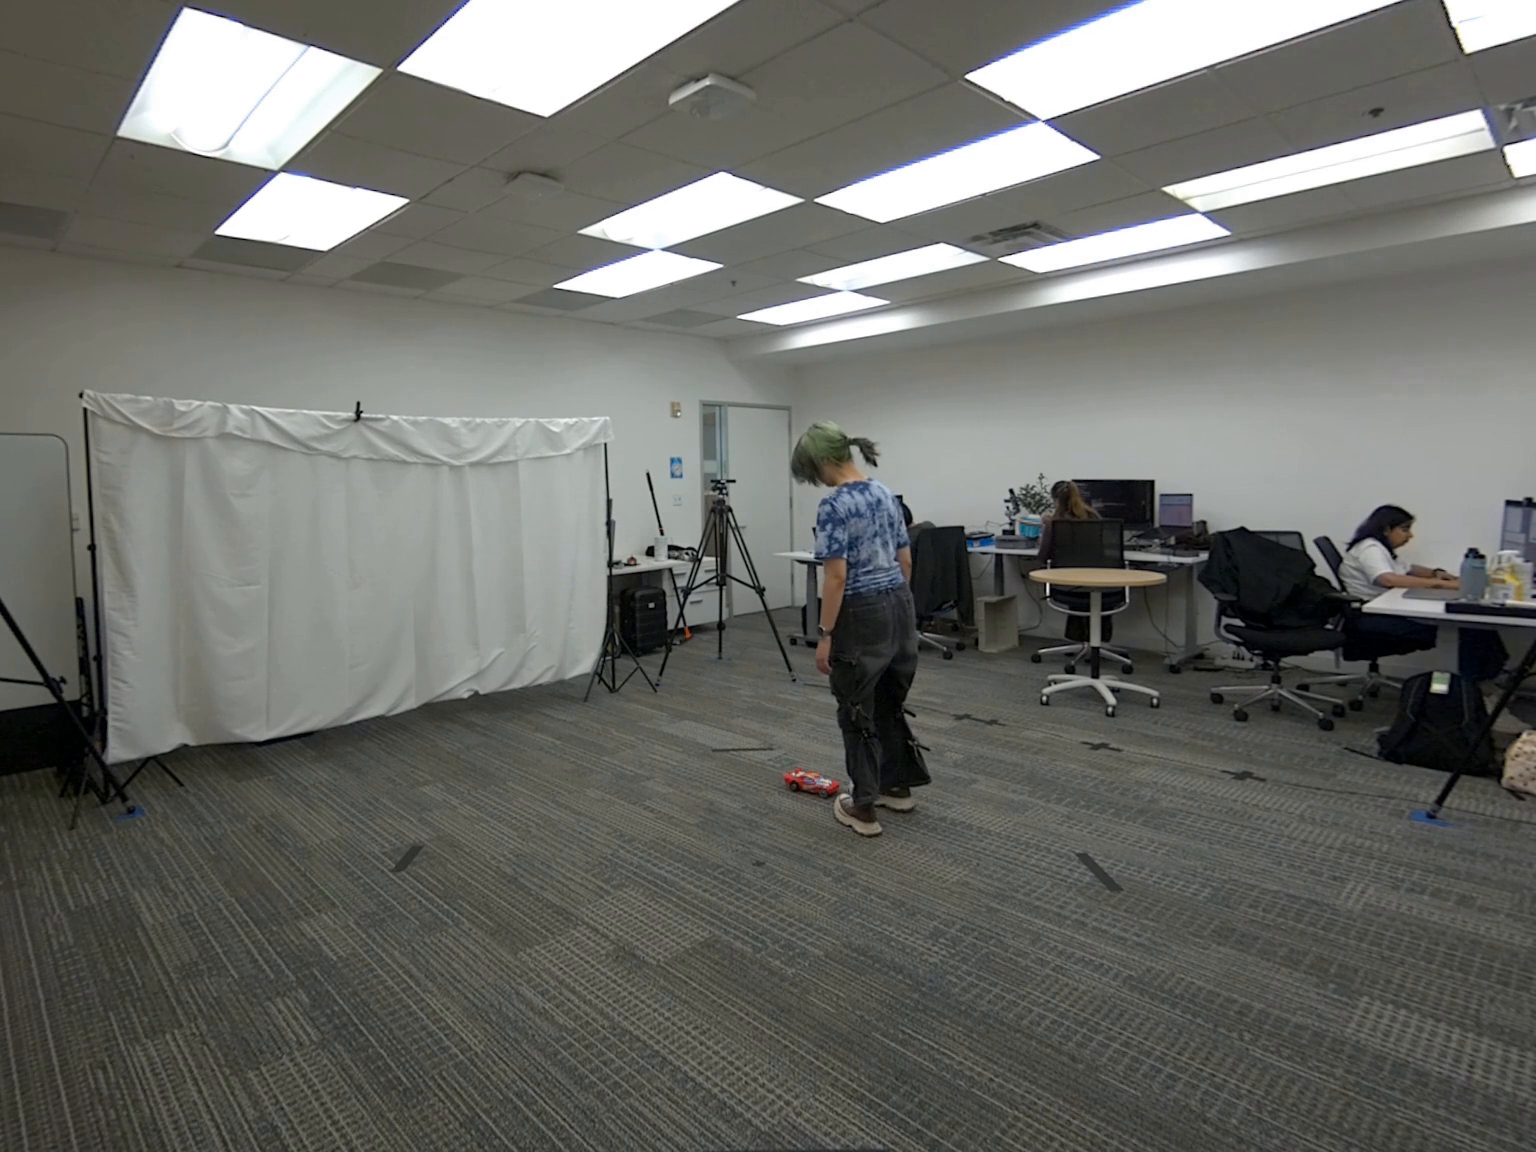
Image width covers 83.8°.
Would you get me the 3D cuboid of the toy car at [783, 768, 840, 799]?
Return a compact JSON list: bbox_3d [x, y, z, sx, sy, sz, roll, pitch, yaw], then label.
[{"bbox_3d":[0.189,0.929,3.837,0.263,0.082,0.127,16,13,32],"label":"toy car"}]
